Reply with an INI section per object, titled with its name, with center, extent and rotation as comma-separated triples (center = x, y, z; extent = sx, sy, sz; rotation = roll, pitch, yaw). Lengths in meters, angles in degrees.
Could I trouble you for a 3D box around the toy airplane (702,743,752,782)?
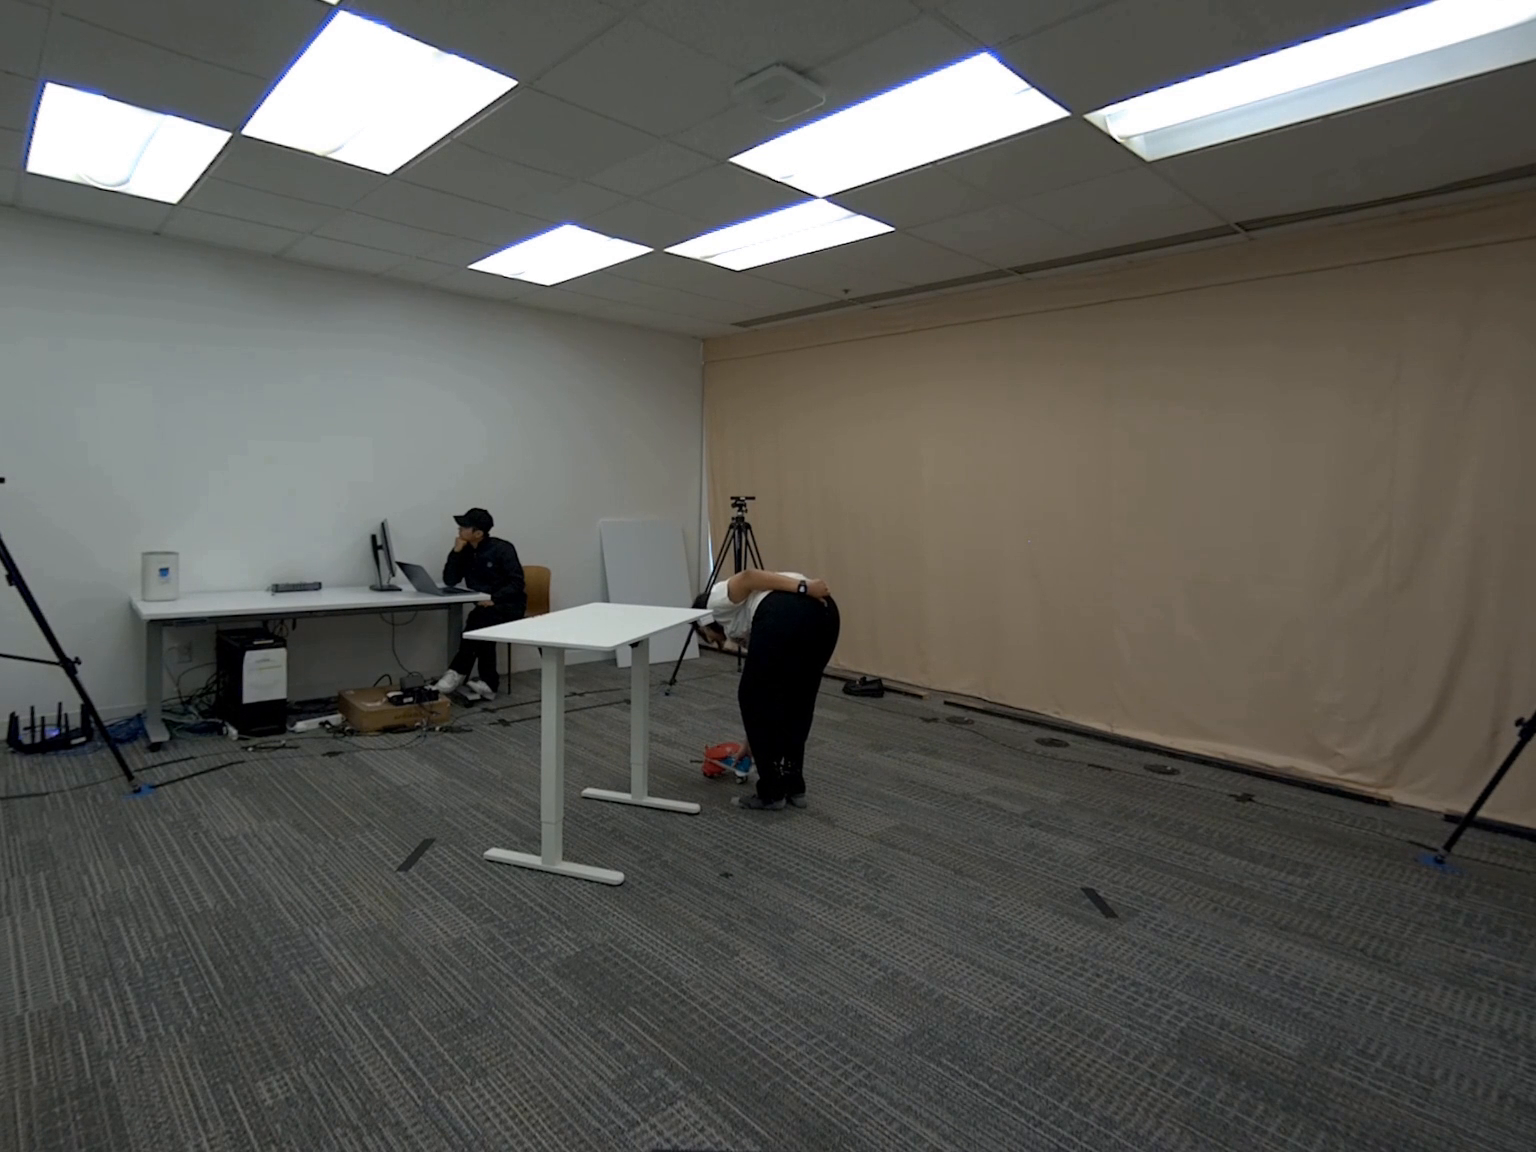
[toy airplane]
center = -0.210, 0.936, 4.216
extent = 0.261, 0.156, 0.250
rotation = 1, 3, 8
